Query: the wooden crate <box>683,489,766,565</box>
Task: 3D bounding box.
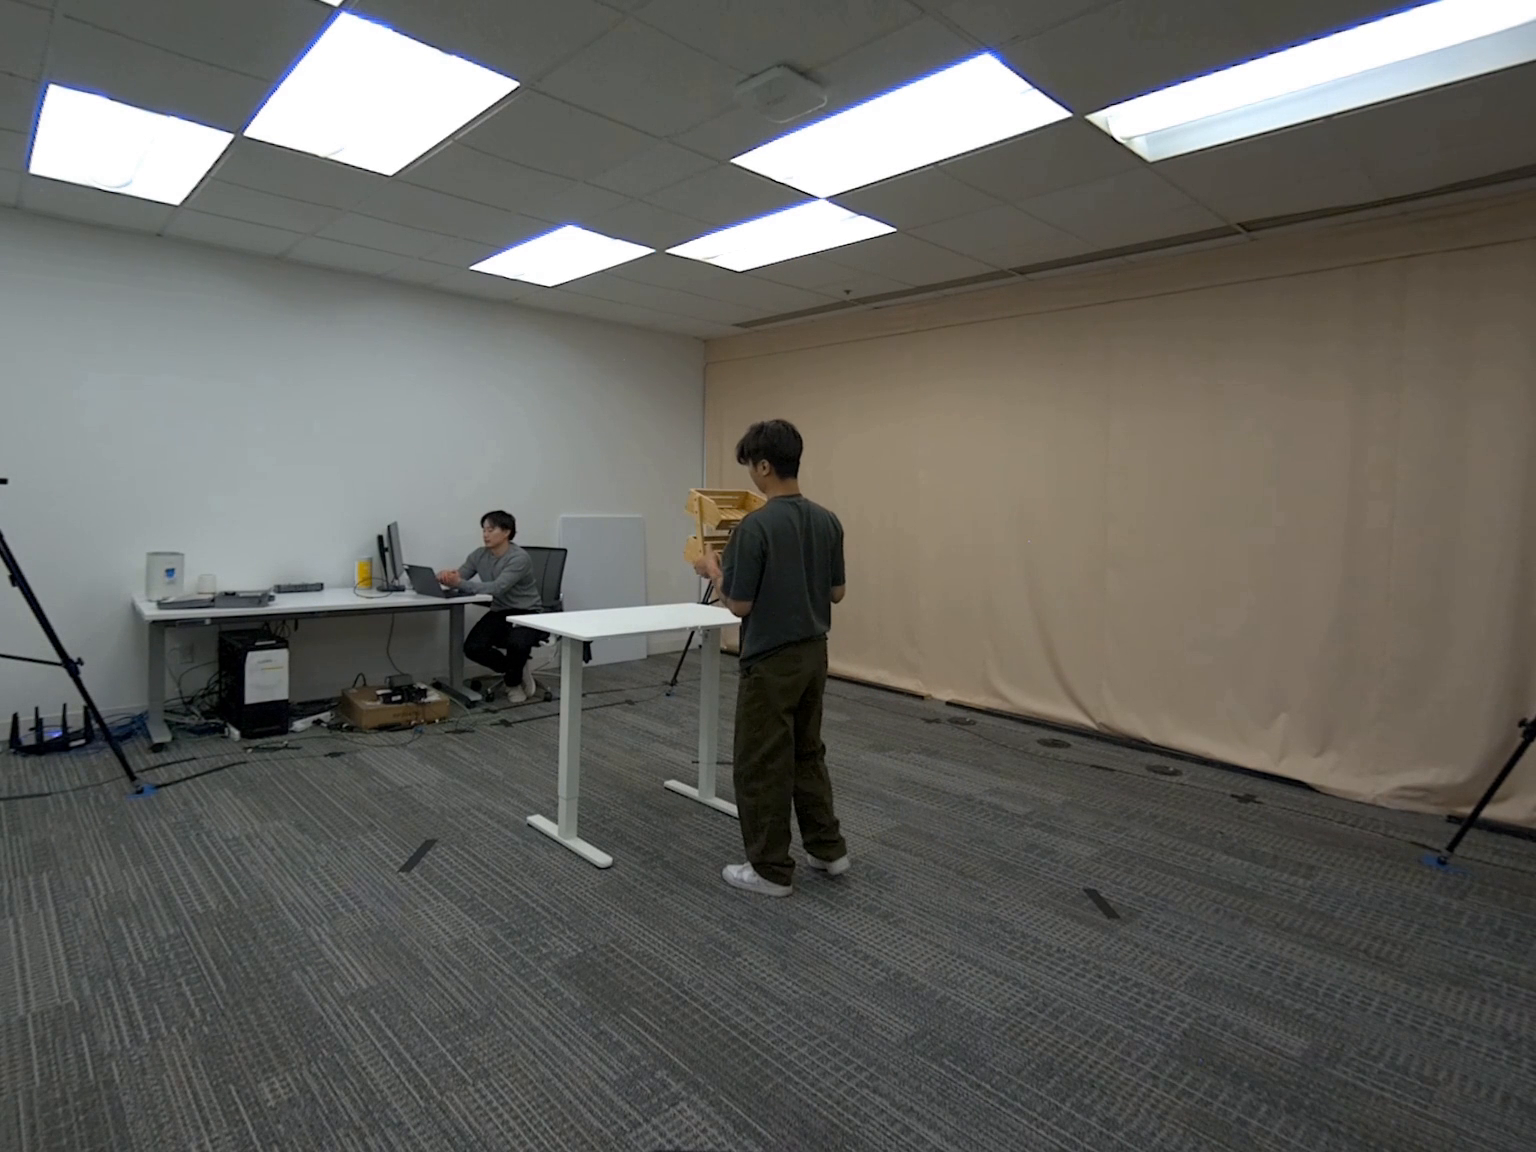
[{"bbox_3d":[-0.121,-0.158,3.184,0.317,0.271,0.311,-2,23,-43],"label":"wooden crate"}]
